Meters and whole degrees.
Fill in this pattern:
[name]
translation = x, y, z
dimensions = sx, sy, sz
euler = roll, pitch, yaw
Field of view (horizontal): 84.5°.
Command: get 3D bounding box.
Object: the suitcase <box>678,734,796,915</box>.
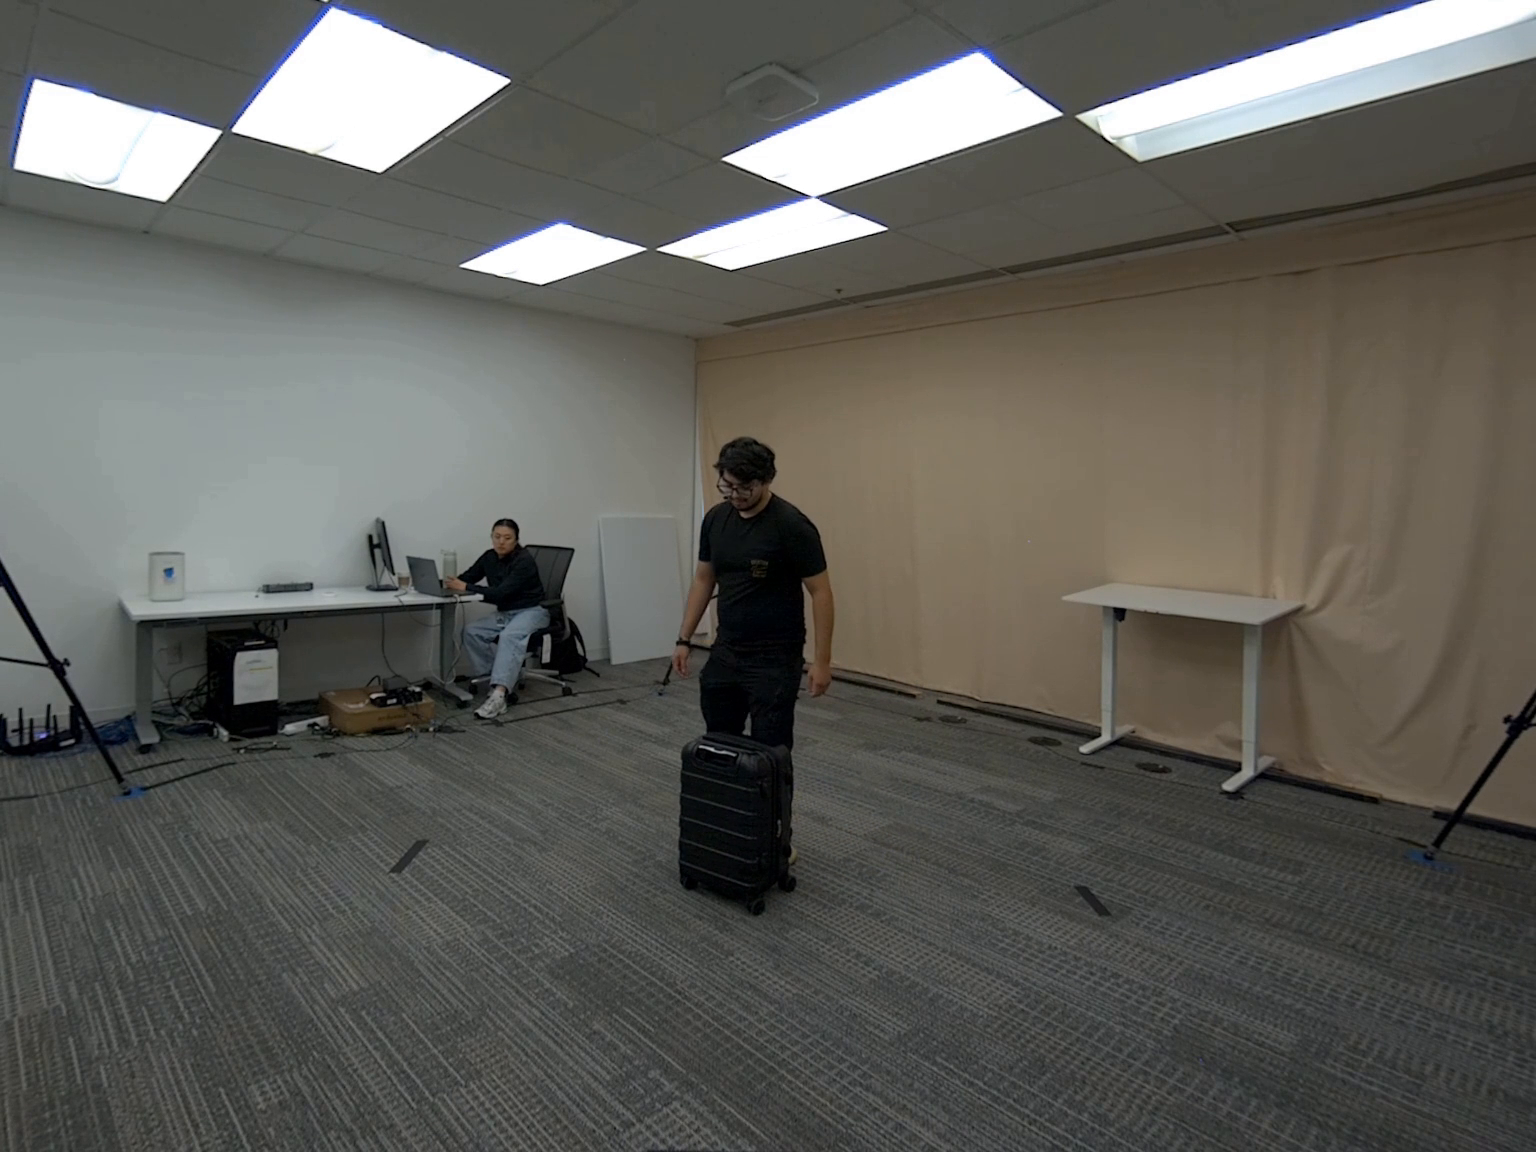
[suitcase]
translation = -0.126, 0.840, 2.968
dimensions = 0.384, 0.548, 0.243
euler = 3, 5, 34
